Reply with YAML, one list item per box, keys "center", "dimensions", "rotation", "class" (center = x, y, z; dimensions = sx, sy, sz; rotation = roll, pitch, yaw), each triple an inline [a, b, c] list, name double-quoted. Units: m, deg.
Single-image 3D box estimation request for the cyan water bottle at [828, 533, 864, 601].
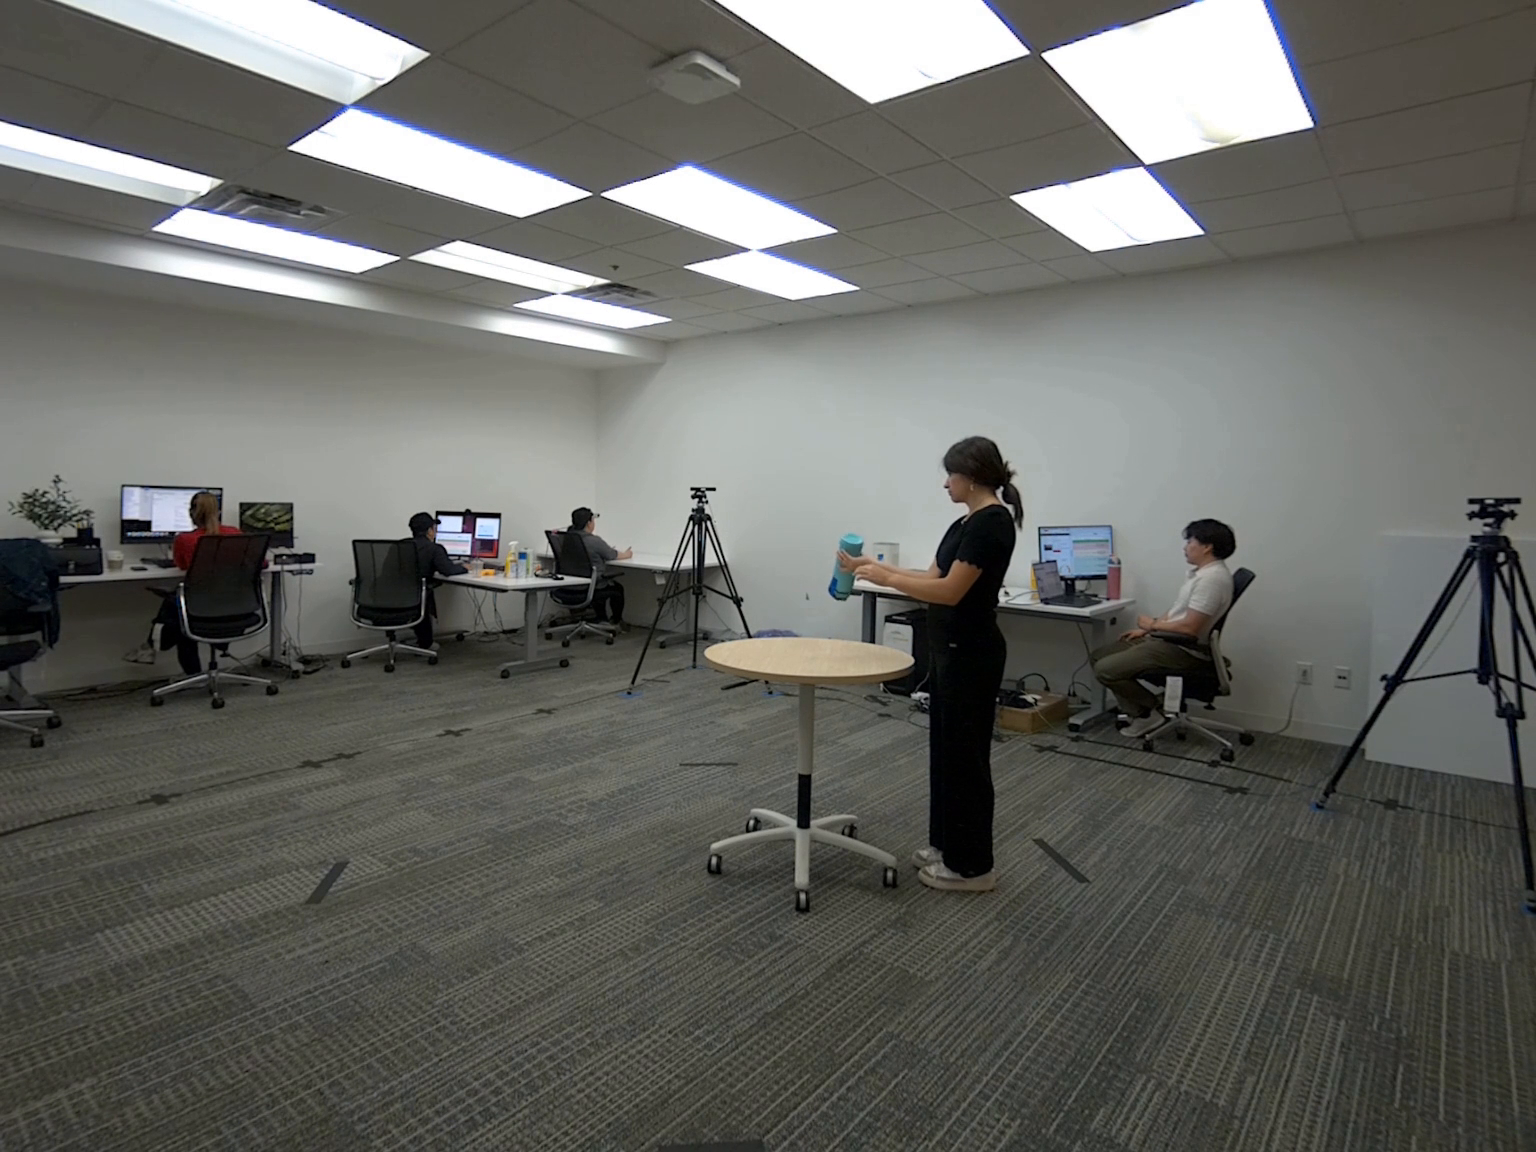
- center: [0.299, -0.038, 3.380]
  dimensions: [0.092, 0.278, 0.095]
  rotation: [7, 29, -6]
  class: "cyan water bottle"
